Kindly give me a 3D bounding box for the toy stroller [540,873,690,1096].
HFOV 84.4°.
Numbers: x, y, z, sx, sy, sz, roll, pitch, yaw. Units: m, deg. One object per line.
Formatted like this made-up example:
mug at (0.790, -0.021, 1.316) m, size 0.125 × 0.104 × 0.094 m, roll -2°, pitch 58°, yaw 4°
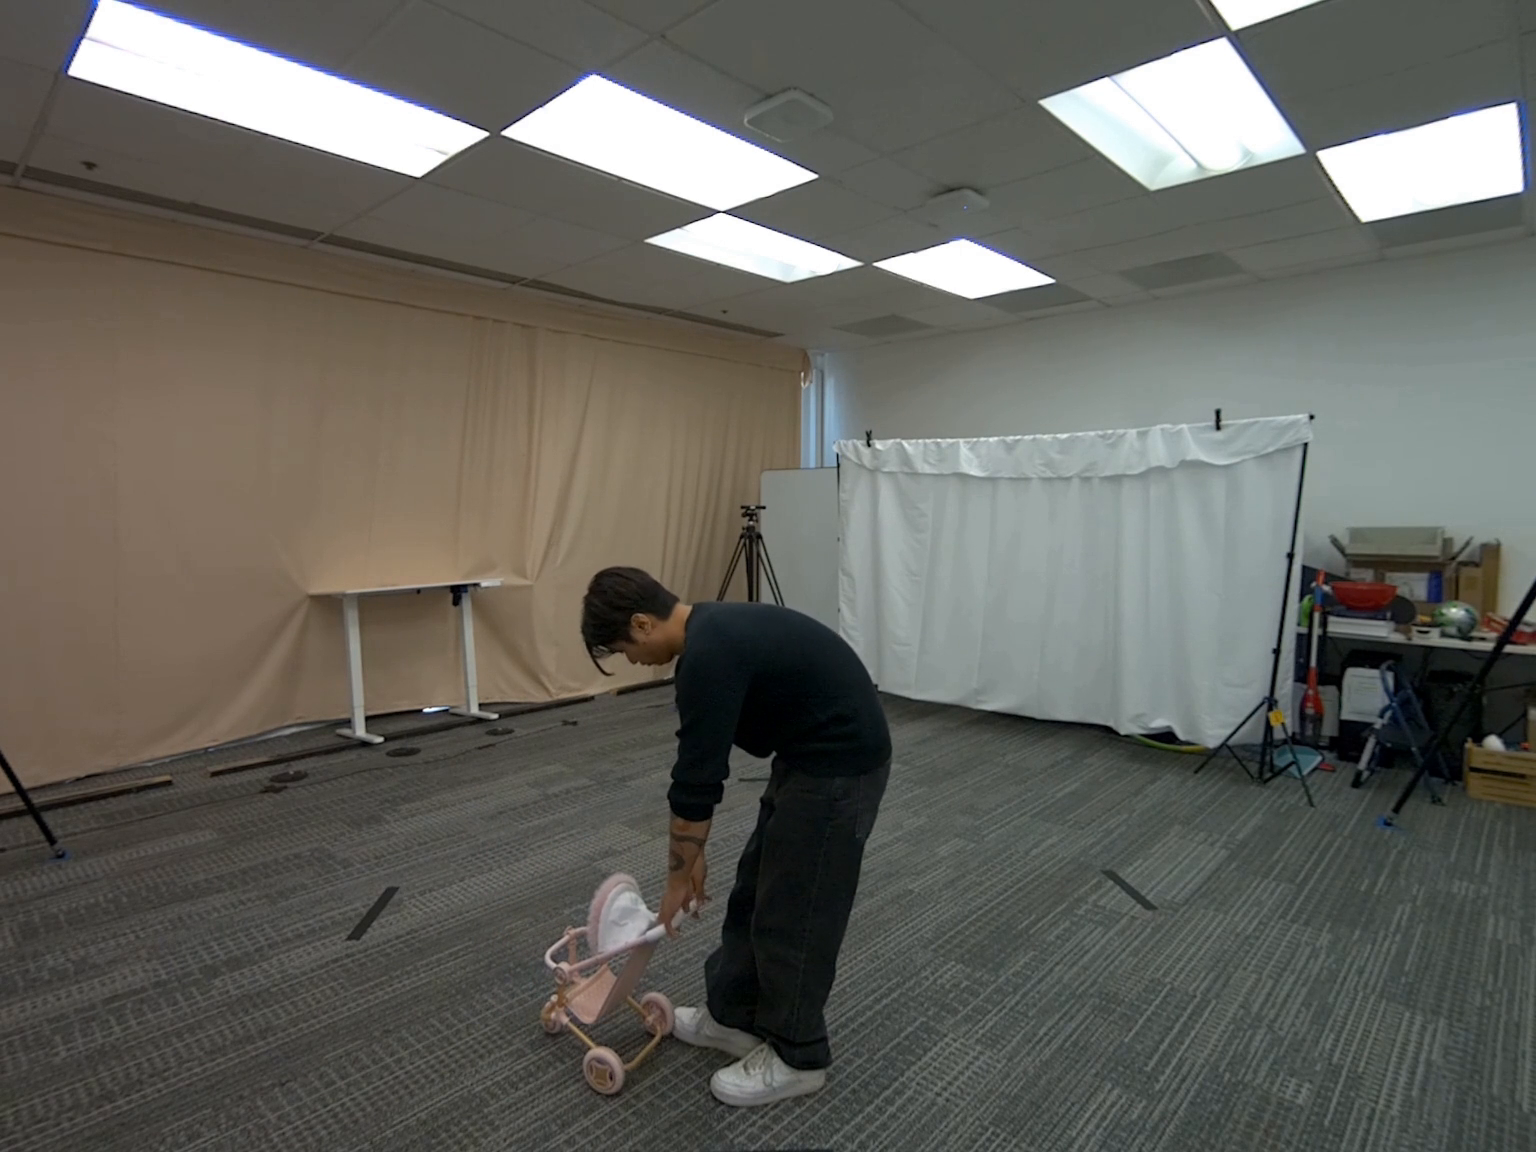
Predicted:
toy stroller at (-0.401, 0.996, 2.129) m, size 0.352 × 0.533 × 0.274 m, roll 20°, pitch 12°, yaw 28°
